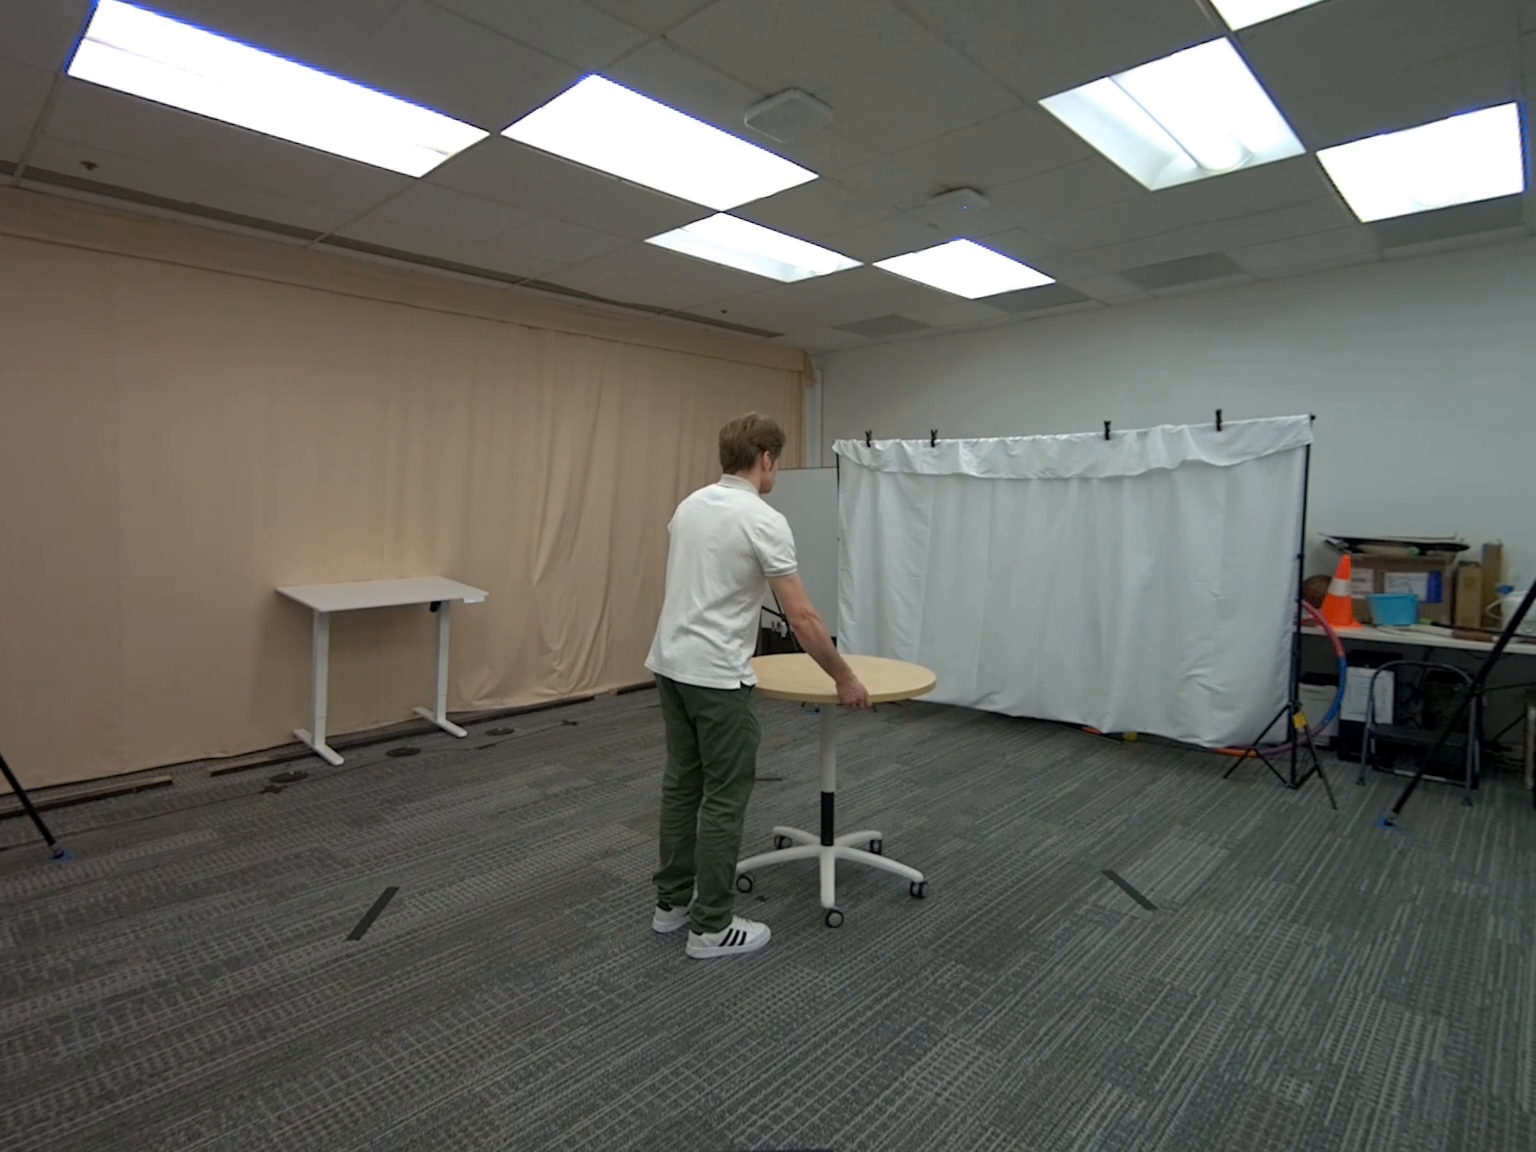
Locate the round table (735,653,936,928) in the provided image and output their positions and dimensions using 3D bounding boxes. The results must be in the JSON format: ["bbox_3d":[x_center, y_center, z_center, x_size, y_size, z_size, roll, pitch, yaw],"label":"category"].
[{"bbox_3d":[0.224,0.745,3.102,0.763,0.792,0.766,0,3,-2],"label":"round table"}]
